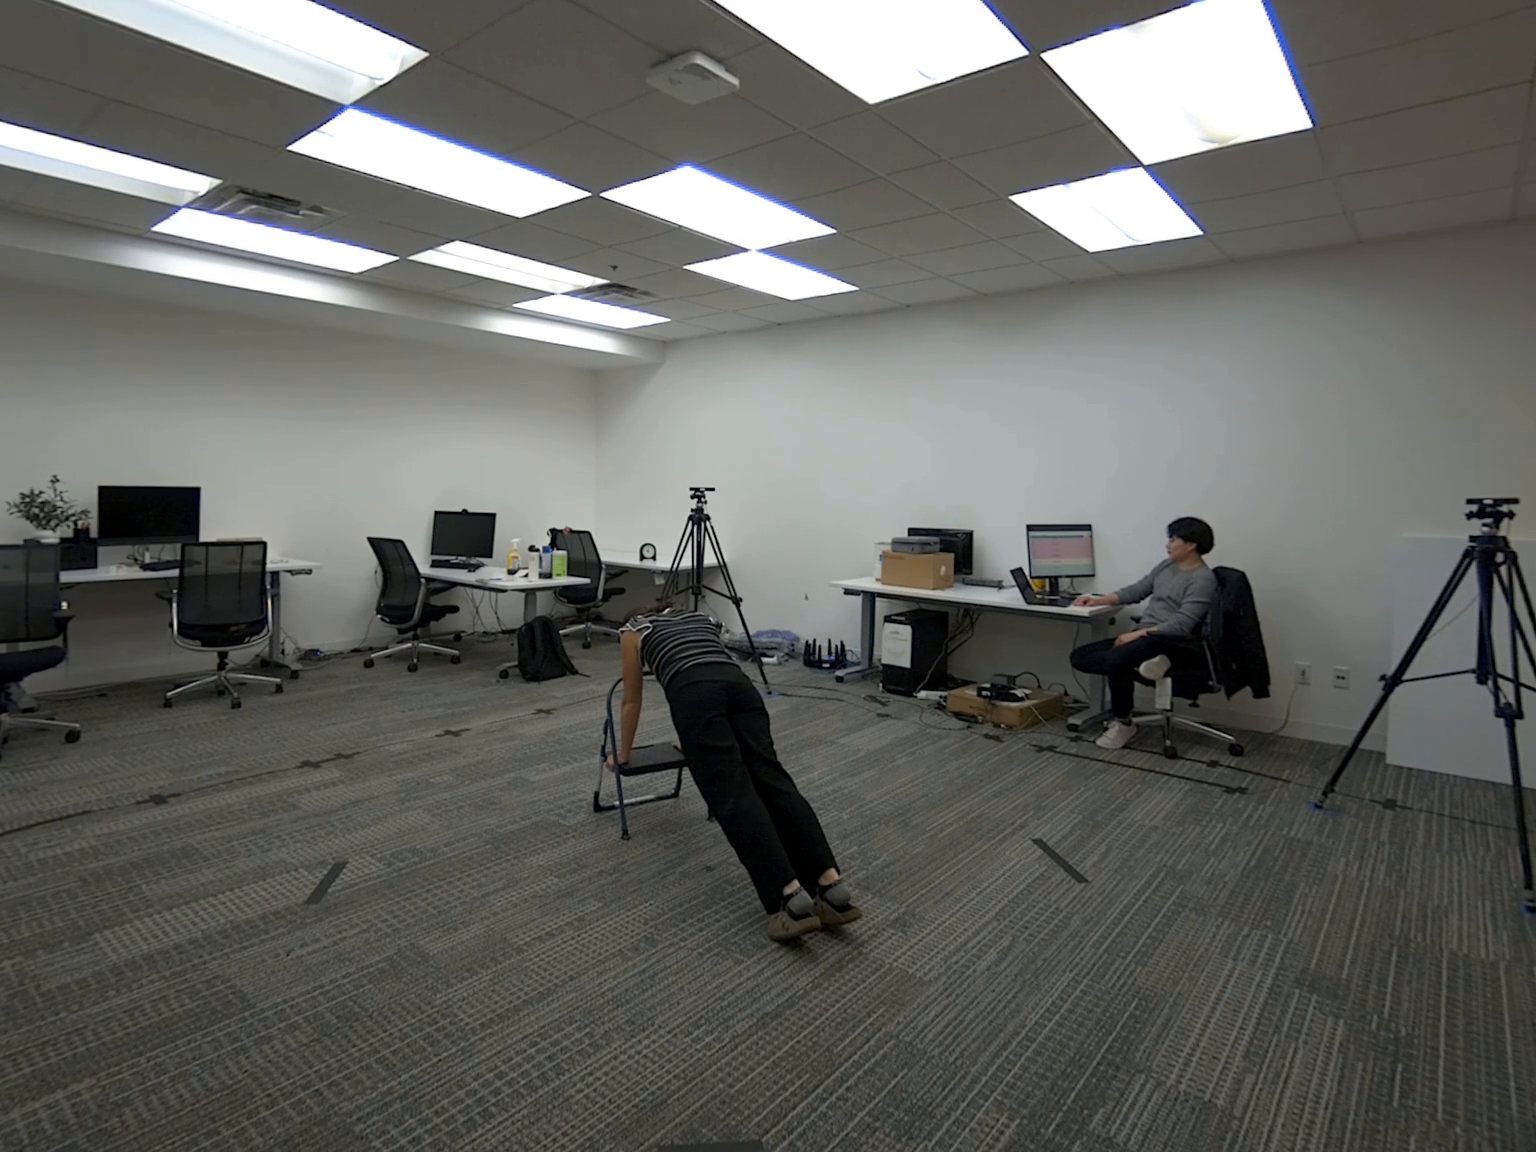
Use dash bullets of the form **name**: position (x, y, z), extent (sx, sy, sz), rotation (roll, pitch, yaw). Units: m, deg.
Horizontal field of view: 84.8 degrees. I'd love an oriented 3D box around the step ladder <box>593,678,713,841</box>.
- **step ladder**: position (-0.497, 0.714, 3.592), extent (0.418, 0.605, 0.360), rotation (-1, 3, -33)
